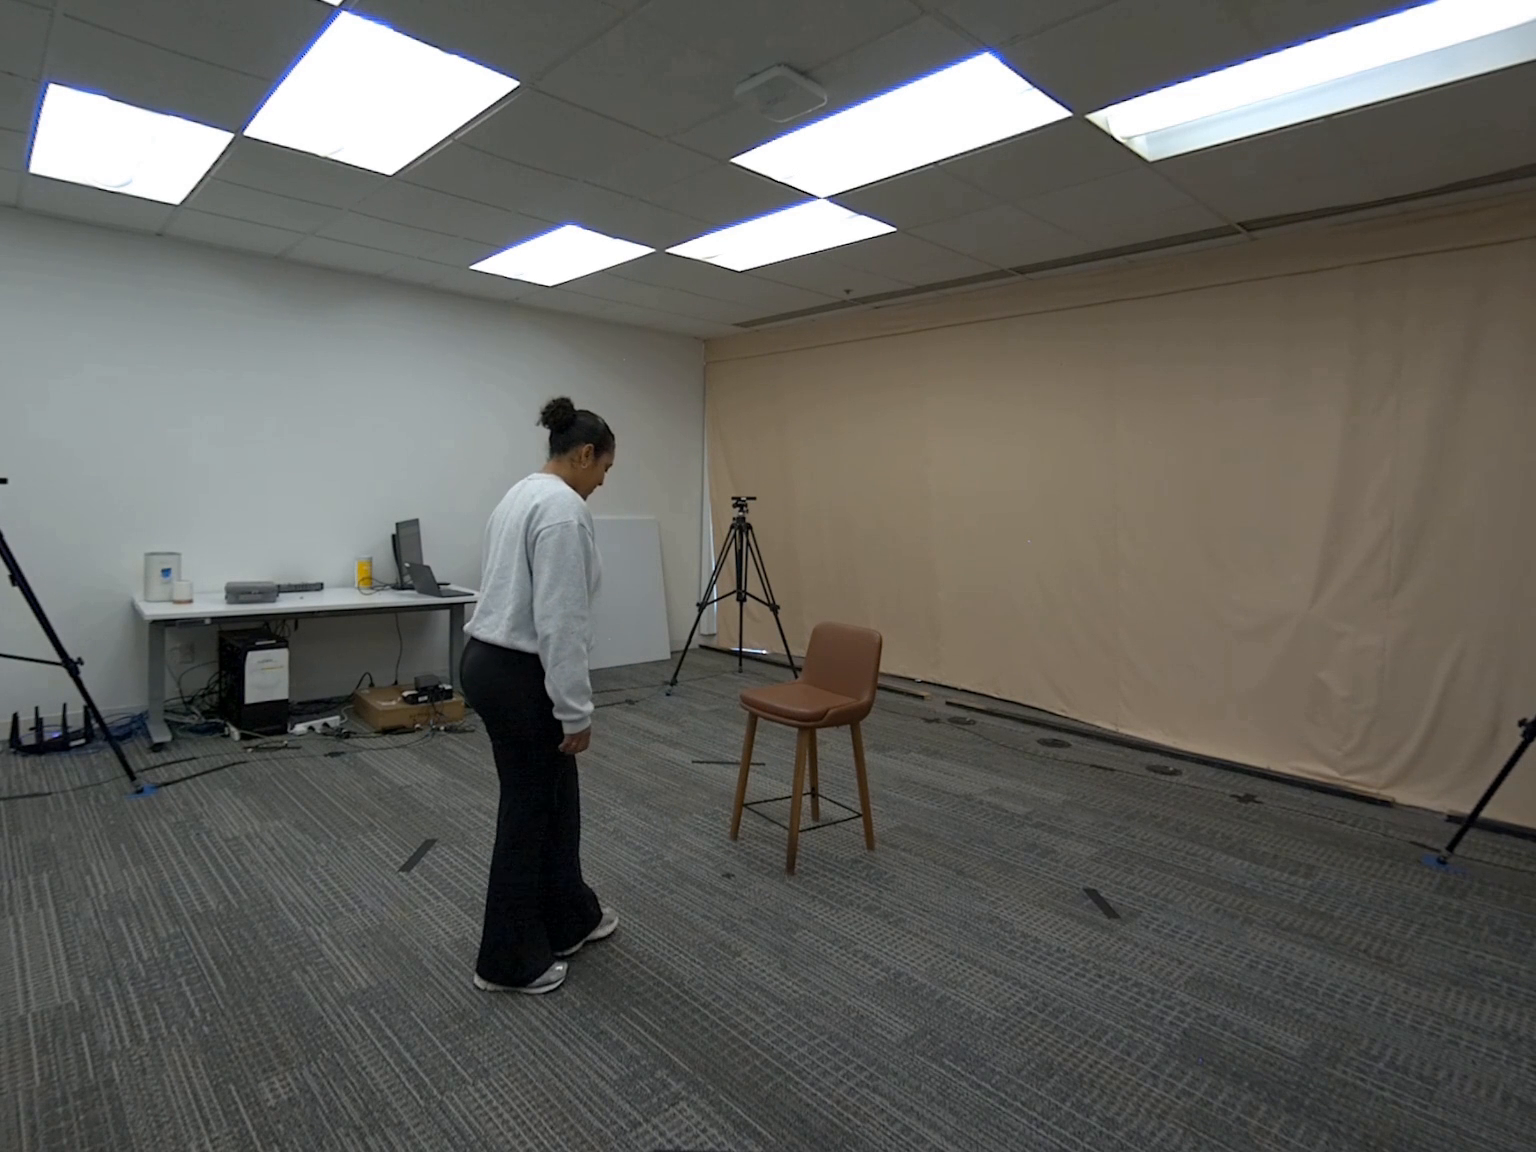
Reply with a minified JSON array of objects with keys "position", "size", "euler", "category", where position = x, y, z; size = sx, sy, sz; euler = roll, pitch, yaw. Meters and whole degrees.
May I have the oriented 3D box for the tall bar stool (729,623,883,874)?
[{"position":[0.152,0.654,3.392],"size":[0.457,0.889,0.467],"euler":[2,2,-35],"category":"tall bar stool"}]
